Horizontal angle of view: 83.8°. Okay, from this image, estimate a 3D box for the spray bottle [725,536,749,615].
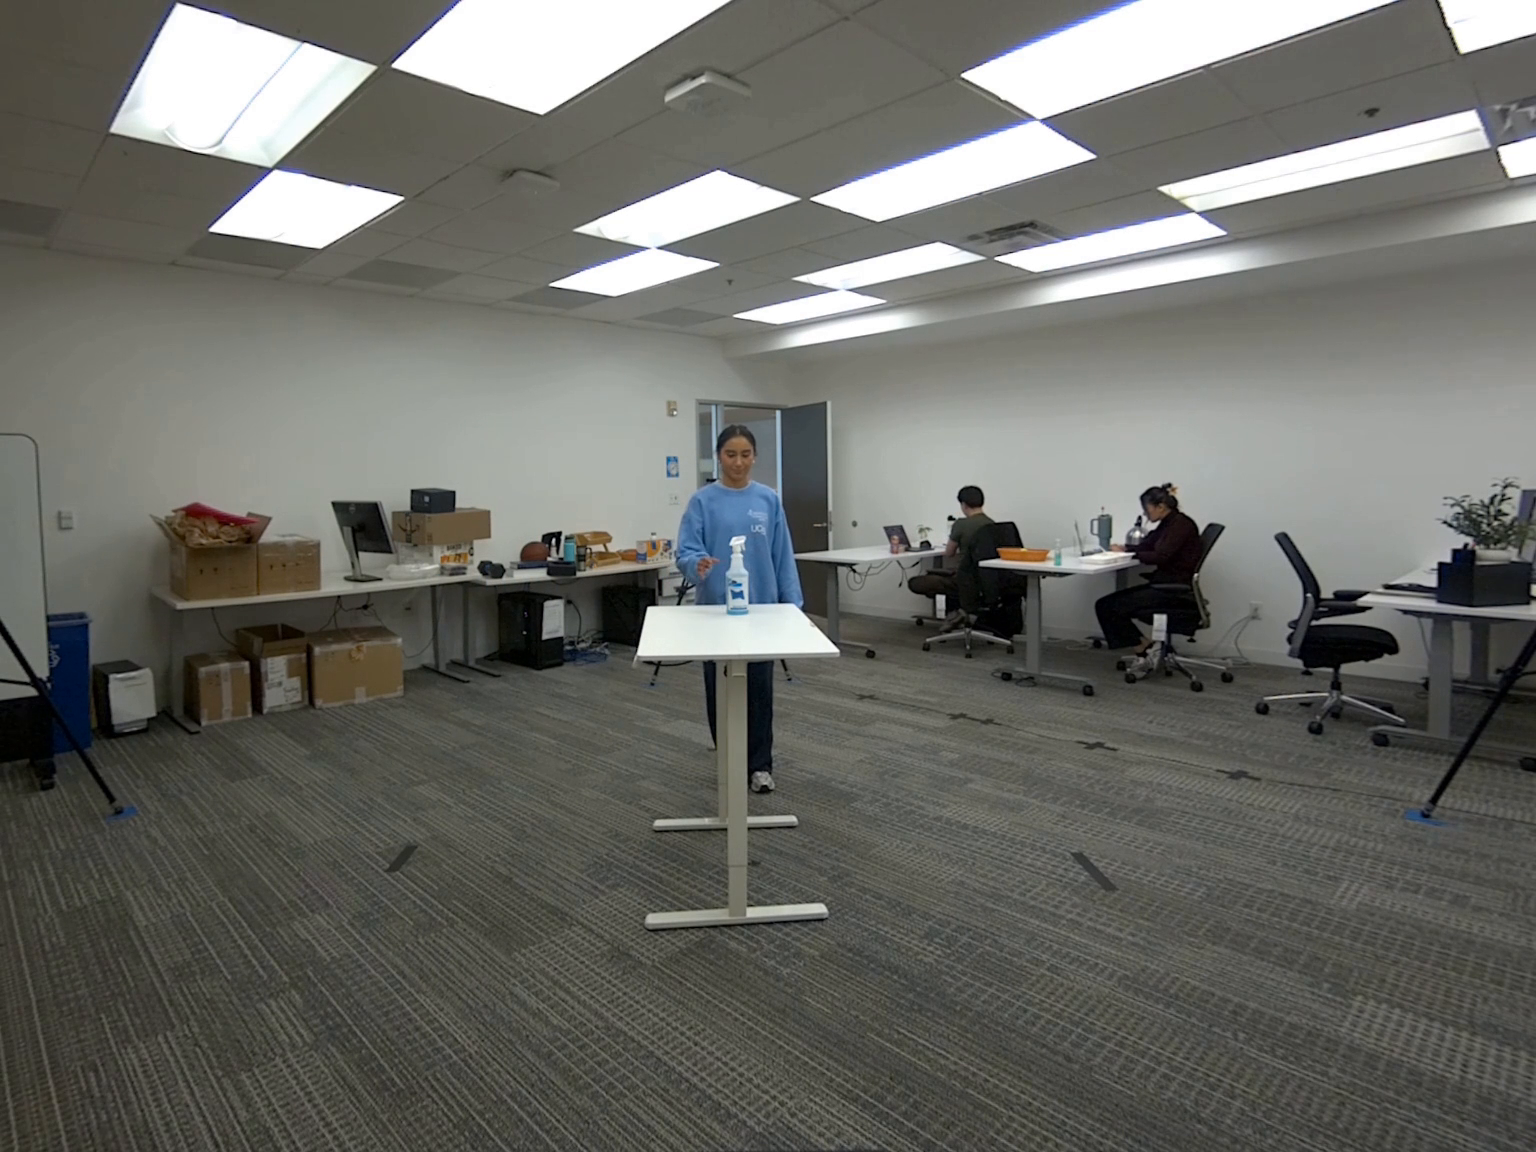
[{"bbox_3d":[-0.120,0.000,3.284,0.088,0.297,0.089,-1,2,-28],"label":"spray bottle"}]
